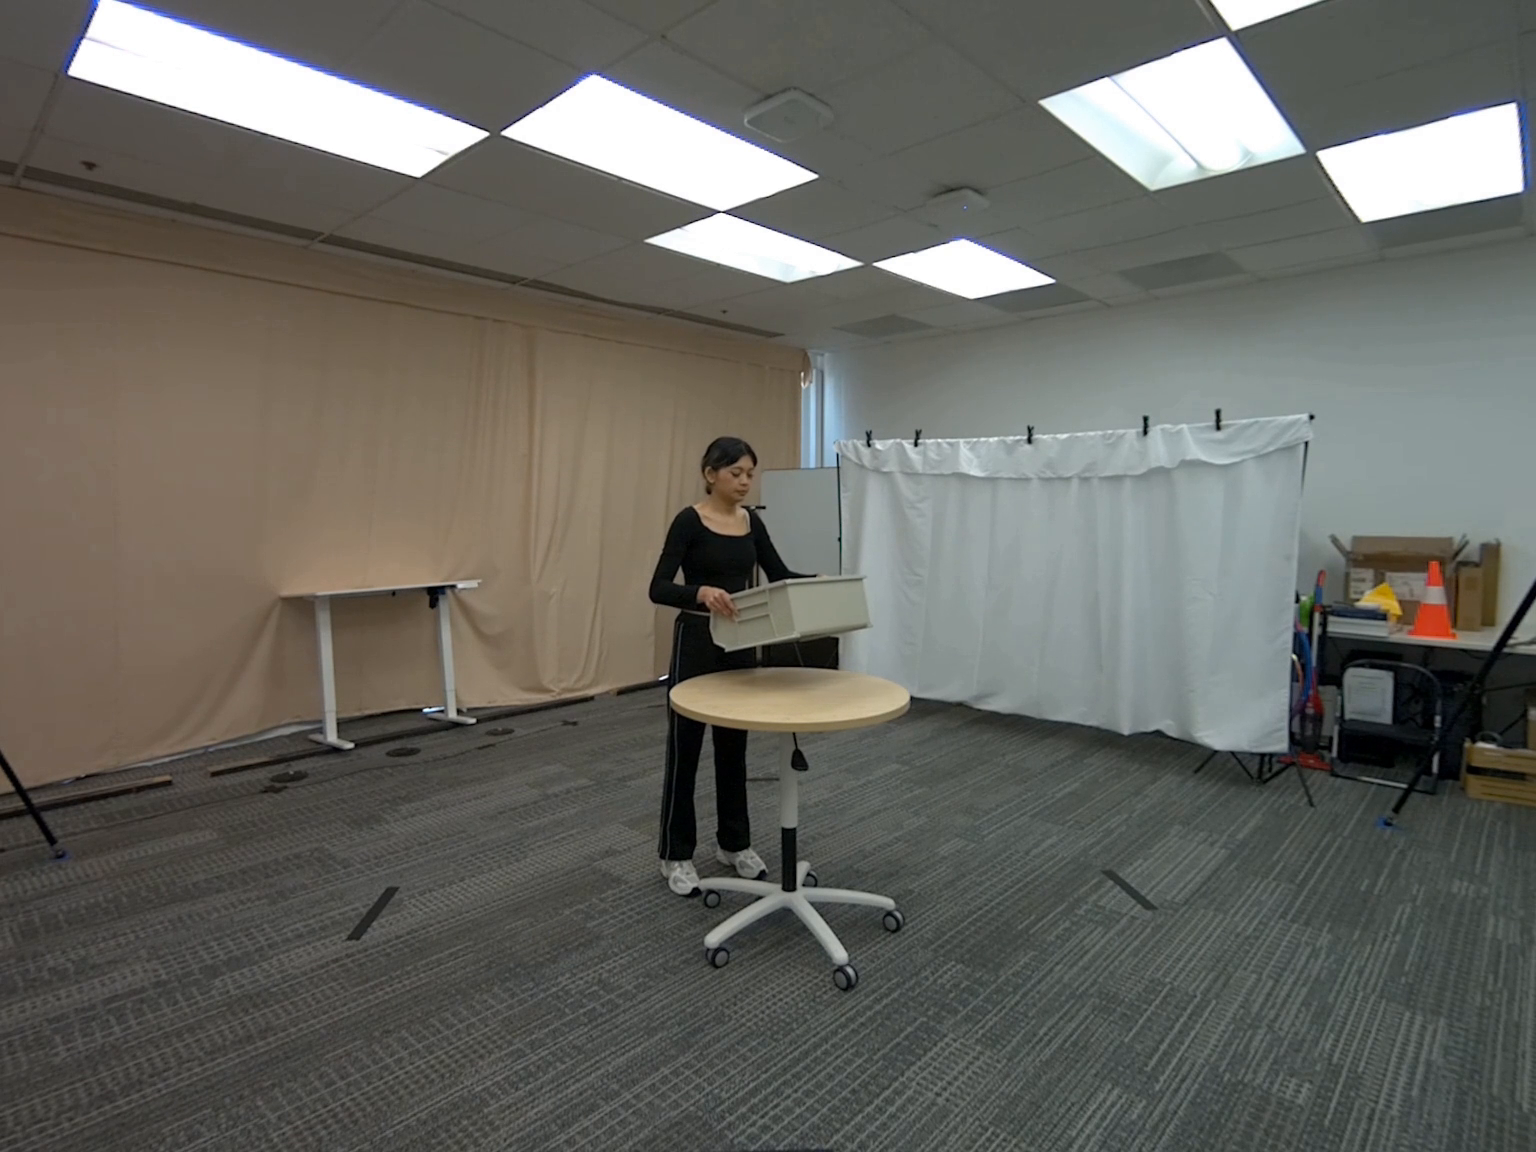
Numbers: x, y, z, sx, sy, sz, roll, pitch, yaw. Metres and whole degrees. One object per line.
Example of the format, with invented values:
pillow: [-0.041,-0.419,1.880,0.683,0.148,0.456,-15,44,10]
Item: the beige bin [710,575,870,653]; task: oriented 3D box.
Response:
beige bin: [0.079,0.131,2.852,0.409,0.190,0.387,-2,-8,-44]
